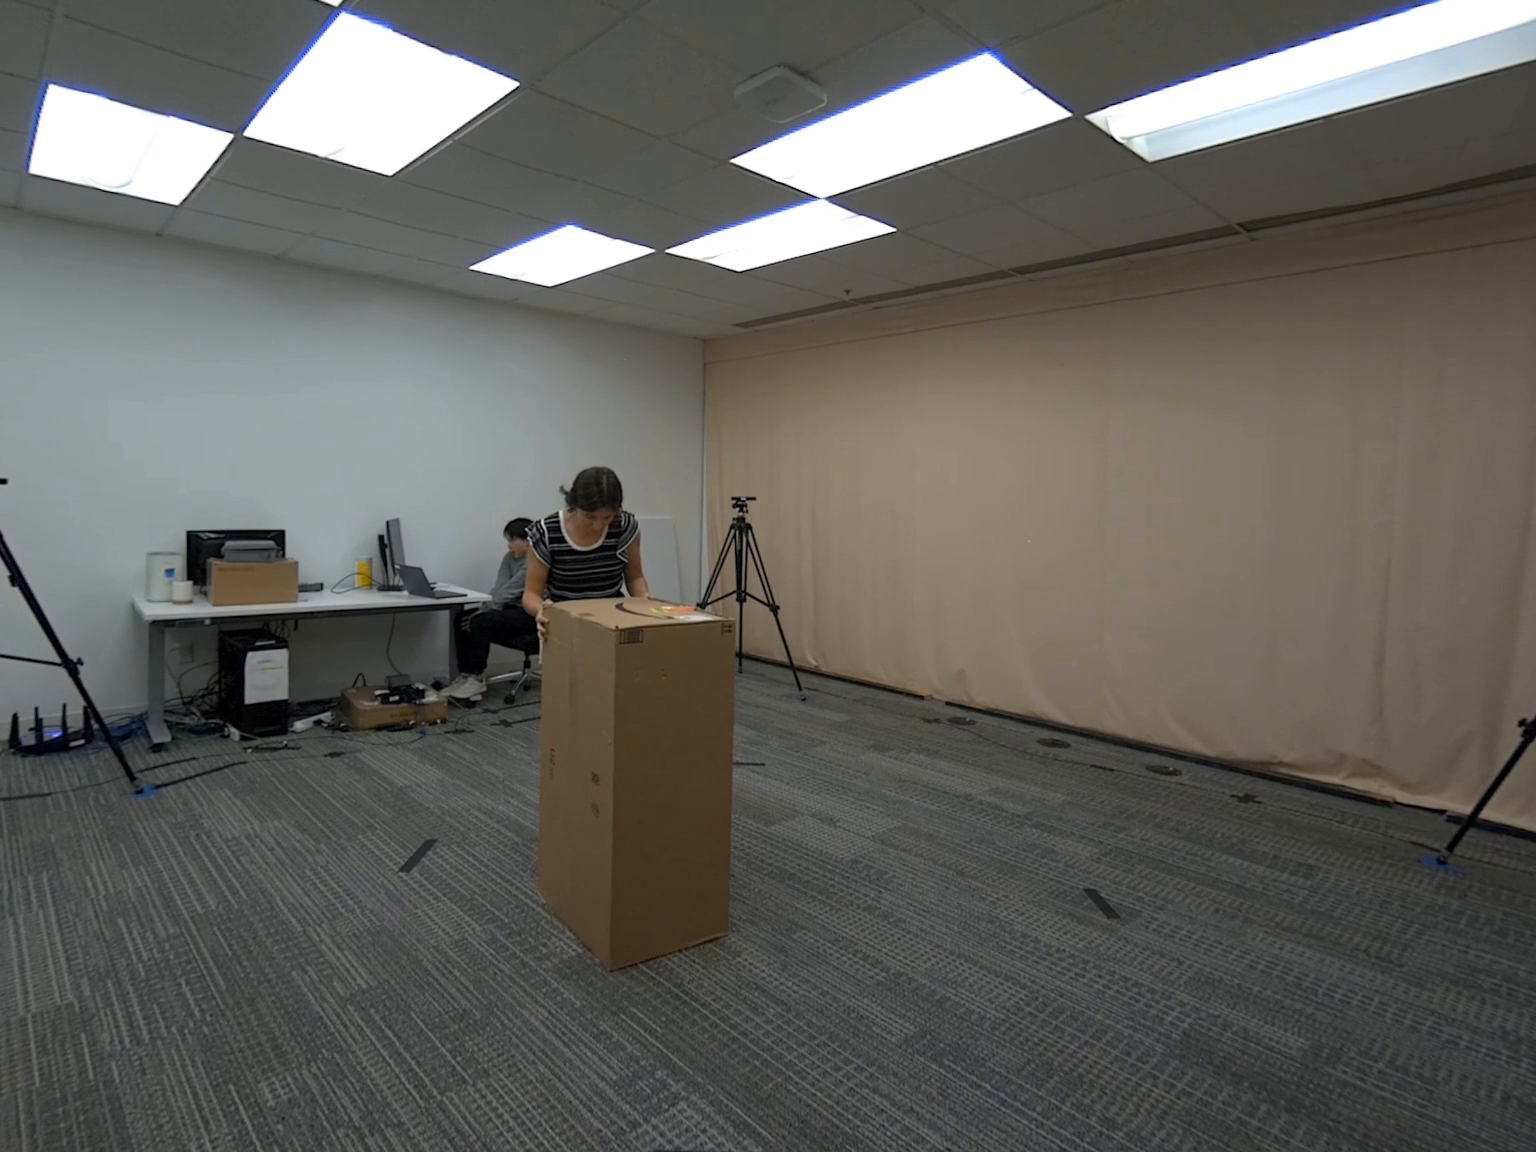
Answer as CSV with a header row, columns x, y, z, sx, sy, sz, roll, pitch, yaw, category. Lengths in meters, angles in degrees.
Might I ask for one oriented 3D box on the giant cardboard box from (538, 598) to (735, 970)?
x,y,z,sx,sy,sz,roll,pitch,yaw,category
-0.446,0.625,2.773,0.417,1.023,0.592,-1,4,-35,giant cardboard box
